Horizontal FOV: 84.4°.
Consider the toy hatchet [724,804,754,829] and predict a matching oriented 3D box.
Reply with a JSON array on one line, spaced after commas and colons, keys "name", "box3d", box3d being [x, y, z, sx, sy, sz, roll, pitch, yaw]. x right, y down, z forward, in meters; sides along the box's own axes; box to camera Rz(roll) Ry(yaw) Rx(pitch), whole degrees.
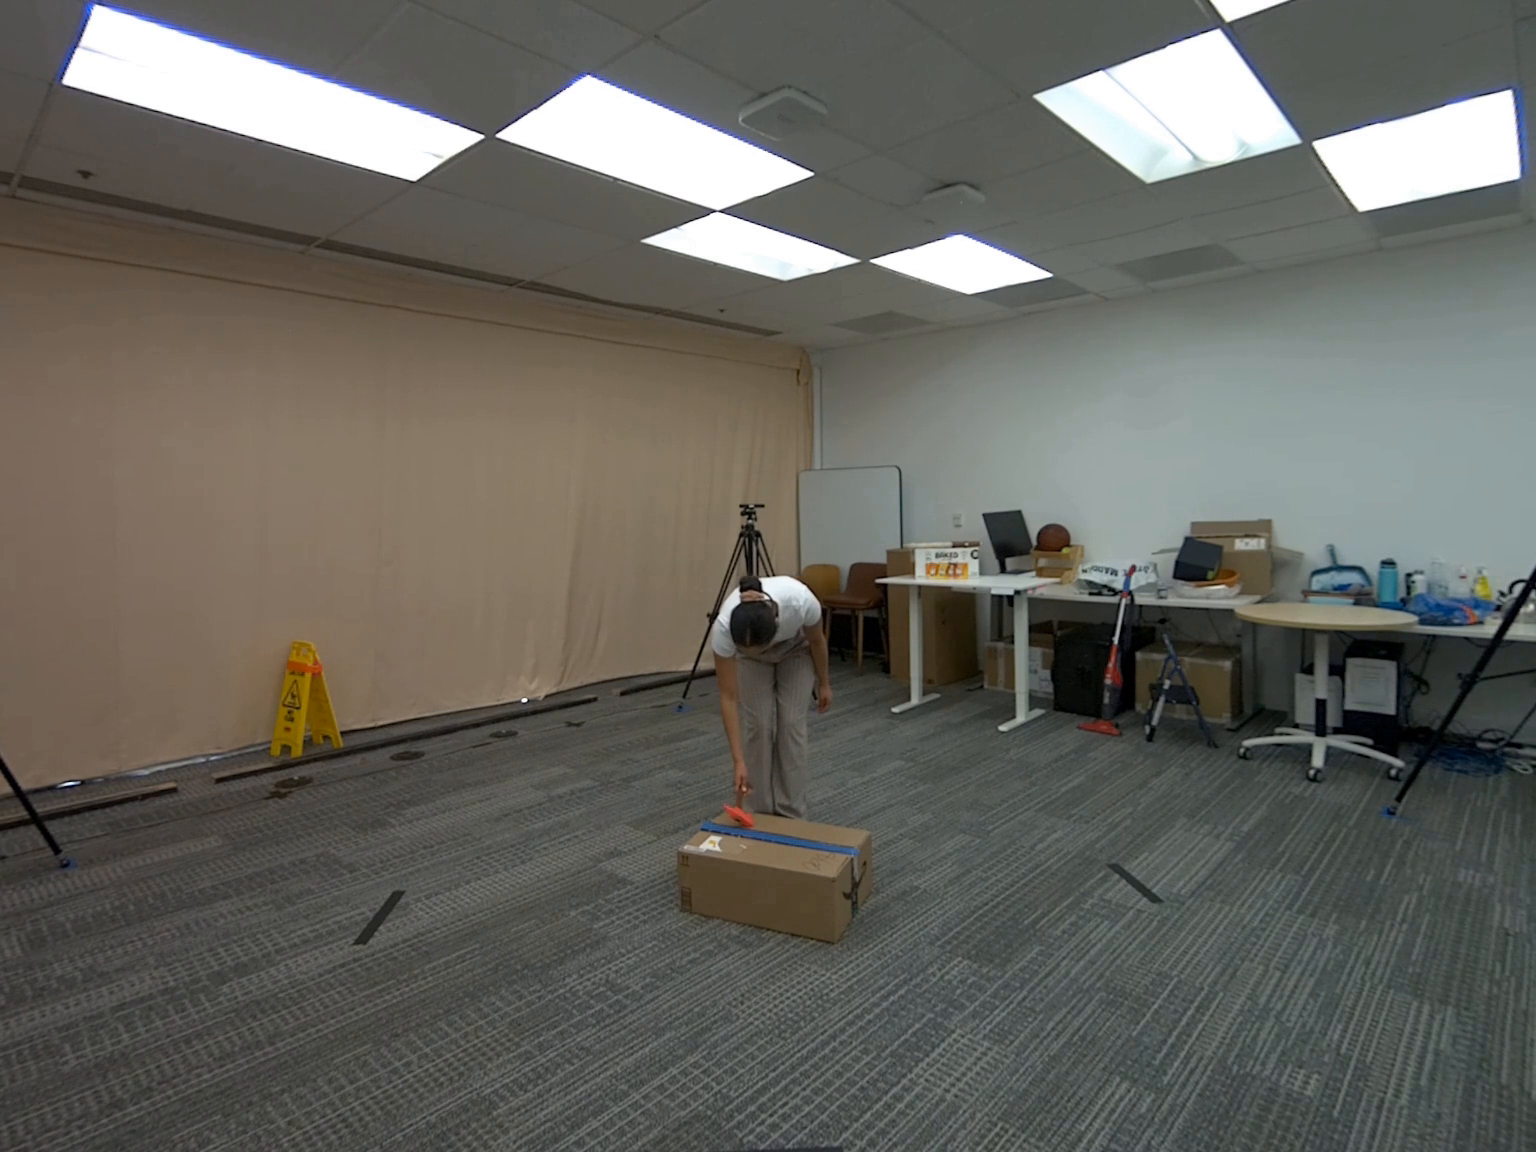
[{"name": "toy hatchet", "box3d": [-0.064, 0.863, 3.158, 0.133, 0.029, 0.266, 38, 14, 11]}]
